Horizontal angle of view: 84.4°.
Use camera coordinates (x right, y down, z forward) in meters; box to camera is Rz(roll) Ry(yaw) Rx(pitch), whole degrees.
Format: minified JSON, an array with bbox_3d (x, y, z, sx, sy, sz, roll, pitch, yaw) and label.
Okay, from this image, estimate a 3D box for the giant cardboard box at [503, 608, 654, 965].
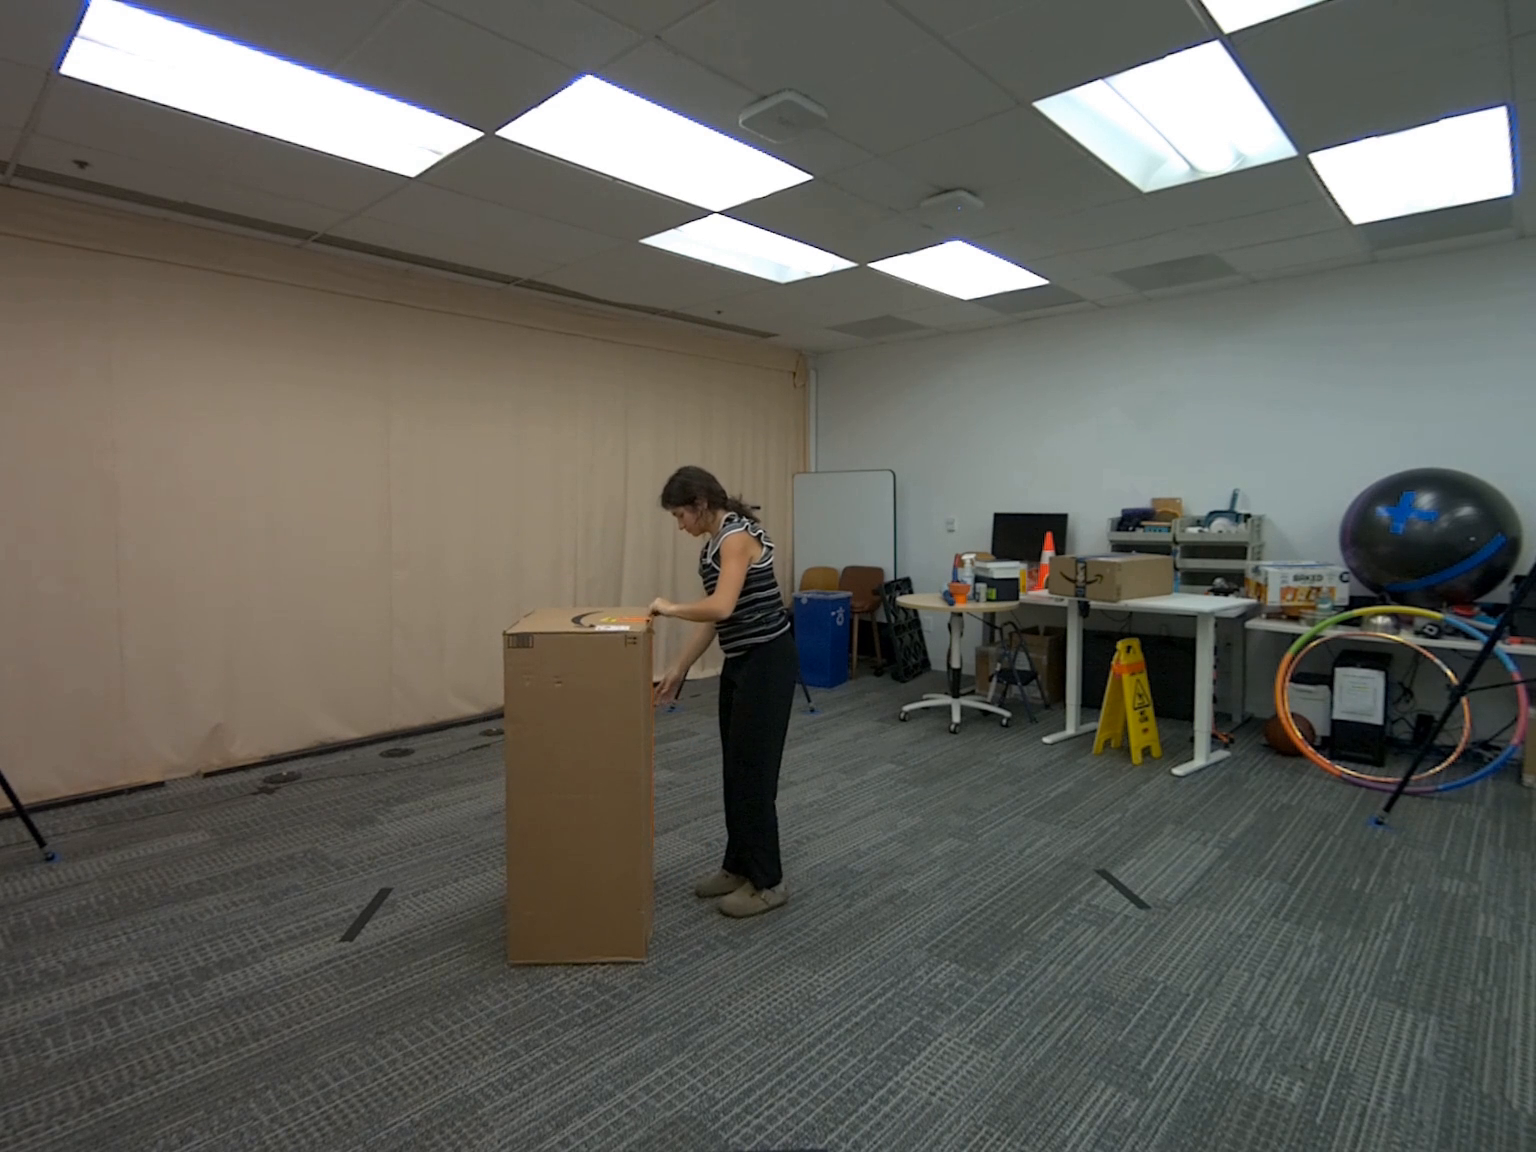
[{"bbox_3d":[-0.616,0.656,2.813,0.424,1.024,0.581,-1,2,-5],"label":"giant cardboard box"}]
